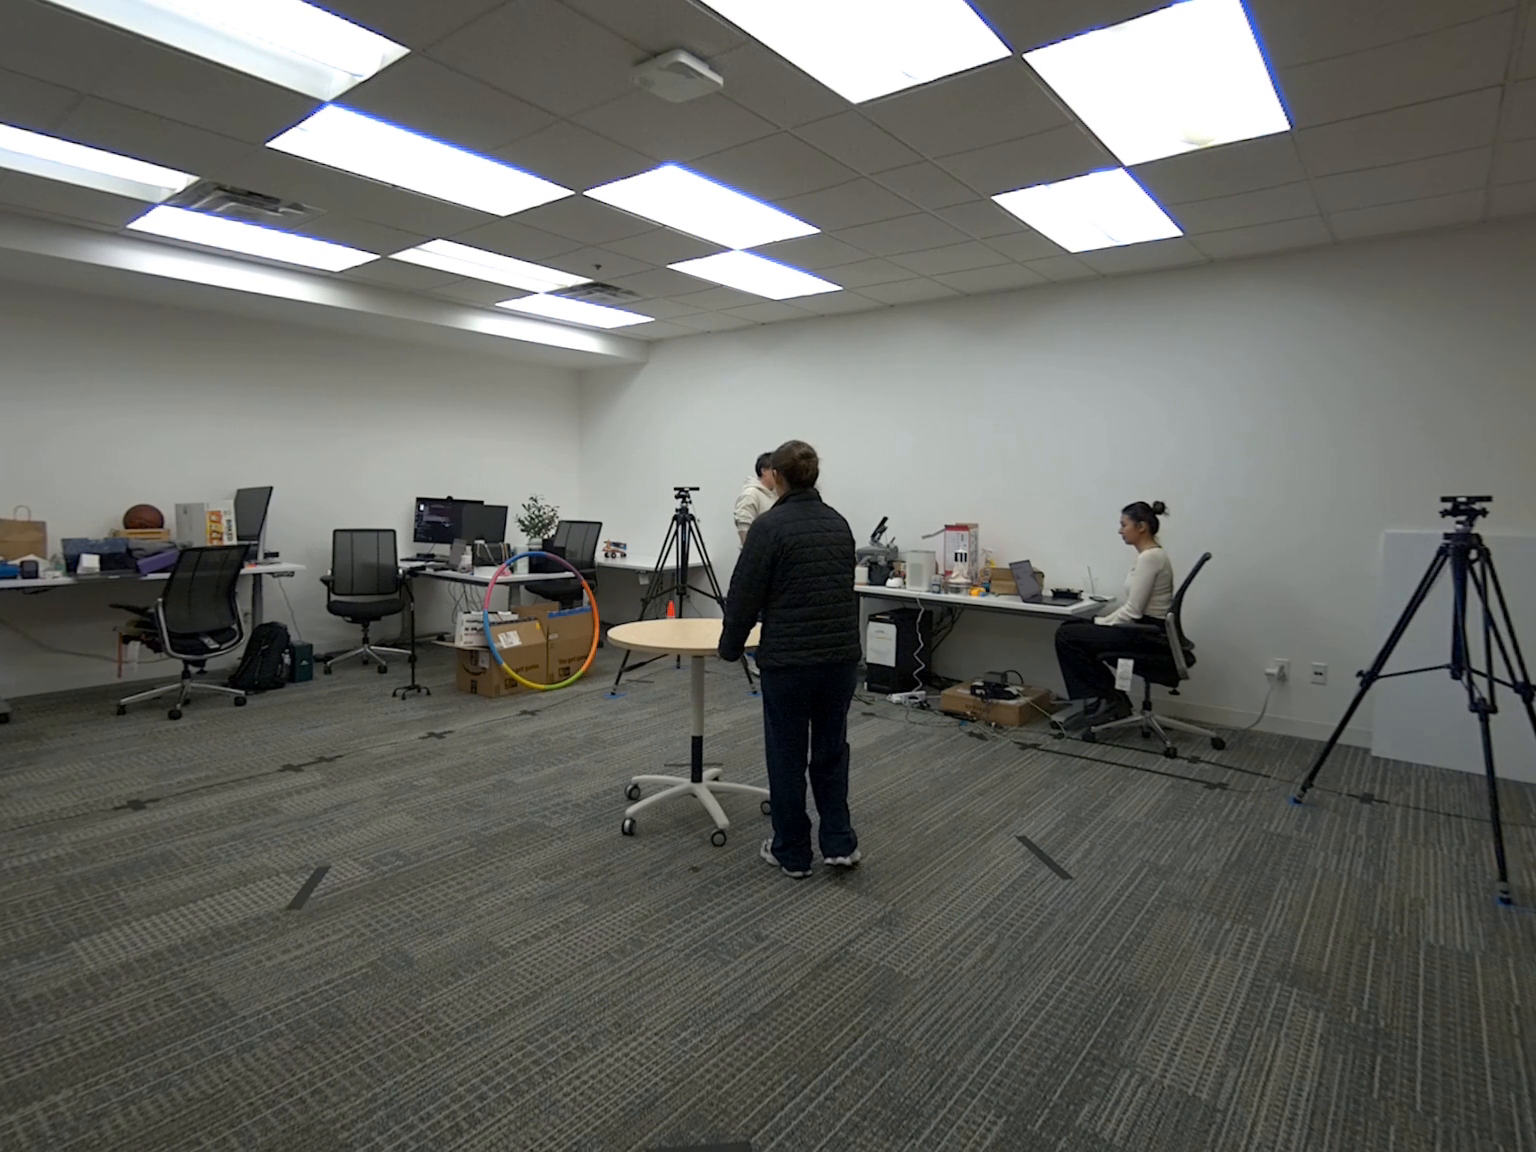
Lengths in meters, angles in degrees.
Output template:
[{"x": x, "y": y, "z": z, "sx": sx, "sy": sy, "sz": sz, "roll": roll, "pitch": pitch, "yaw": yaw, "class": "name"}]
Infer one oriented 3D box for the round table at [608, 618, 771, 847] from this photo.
[{"x": -0.284, "y": 0.621, "z": 3.612, "sx": 0.784, "sy": 0.784, "sz": 0.789, "roll": 1, "pitch": 4, "yaw": -2, "class": "round table"}]
